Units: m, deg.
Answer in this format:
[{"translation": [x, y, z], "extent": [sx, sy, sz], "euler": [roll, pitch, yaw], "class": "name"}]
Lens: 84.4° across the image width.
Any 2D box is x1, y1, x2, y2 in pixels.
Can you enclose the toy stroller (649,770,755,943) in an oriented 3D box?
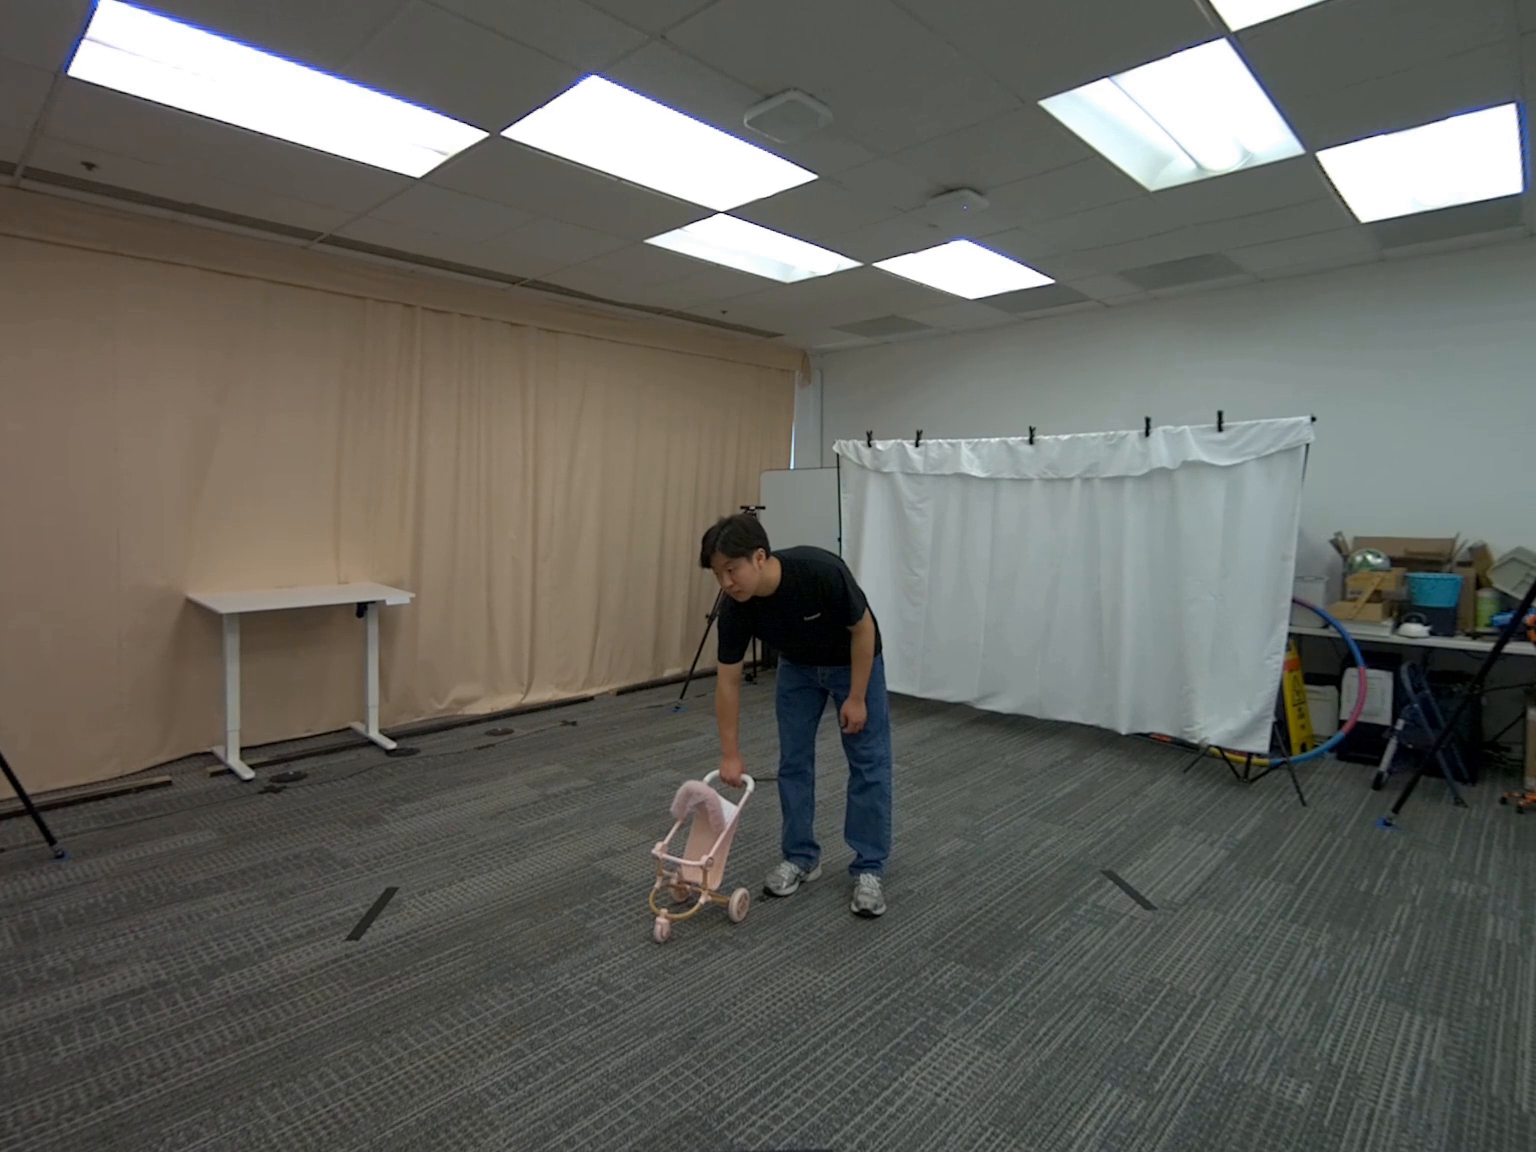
[{"translation": [-0.240, 0.931, 2.832], "extent": [0.290, 0.537, 0.329], "euler": [2, -10, 38], "class": "toy stroller"}]
